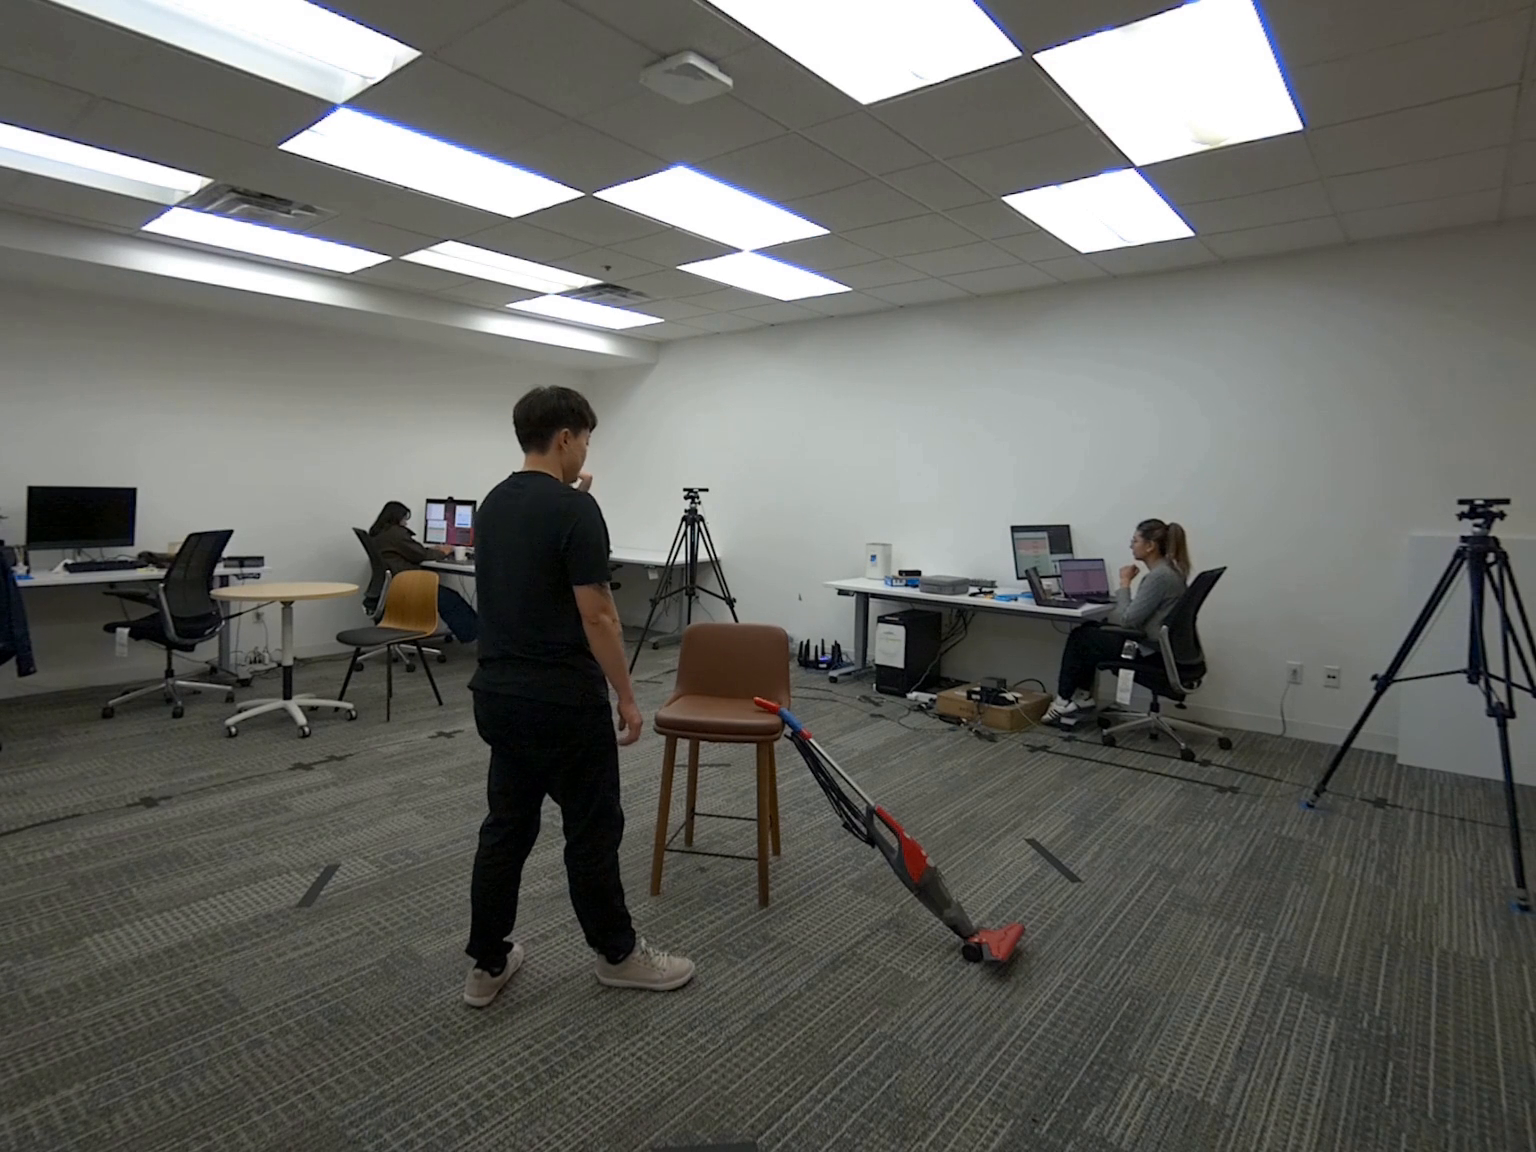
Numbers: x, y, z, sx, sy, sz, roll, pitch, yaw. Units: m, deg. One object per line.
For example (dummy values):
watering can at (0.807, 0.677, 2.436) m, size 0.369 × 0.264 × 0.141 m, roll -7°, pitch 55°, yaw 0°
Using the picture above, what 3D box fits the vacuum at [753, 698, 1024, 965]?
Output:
vacuum at (0.331, 0.787, 2.779) m, size 1.085 × 0.143 × 0.245 m, roll 43°, pitch 21°, yaw 25°
